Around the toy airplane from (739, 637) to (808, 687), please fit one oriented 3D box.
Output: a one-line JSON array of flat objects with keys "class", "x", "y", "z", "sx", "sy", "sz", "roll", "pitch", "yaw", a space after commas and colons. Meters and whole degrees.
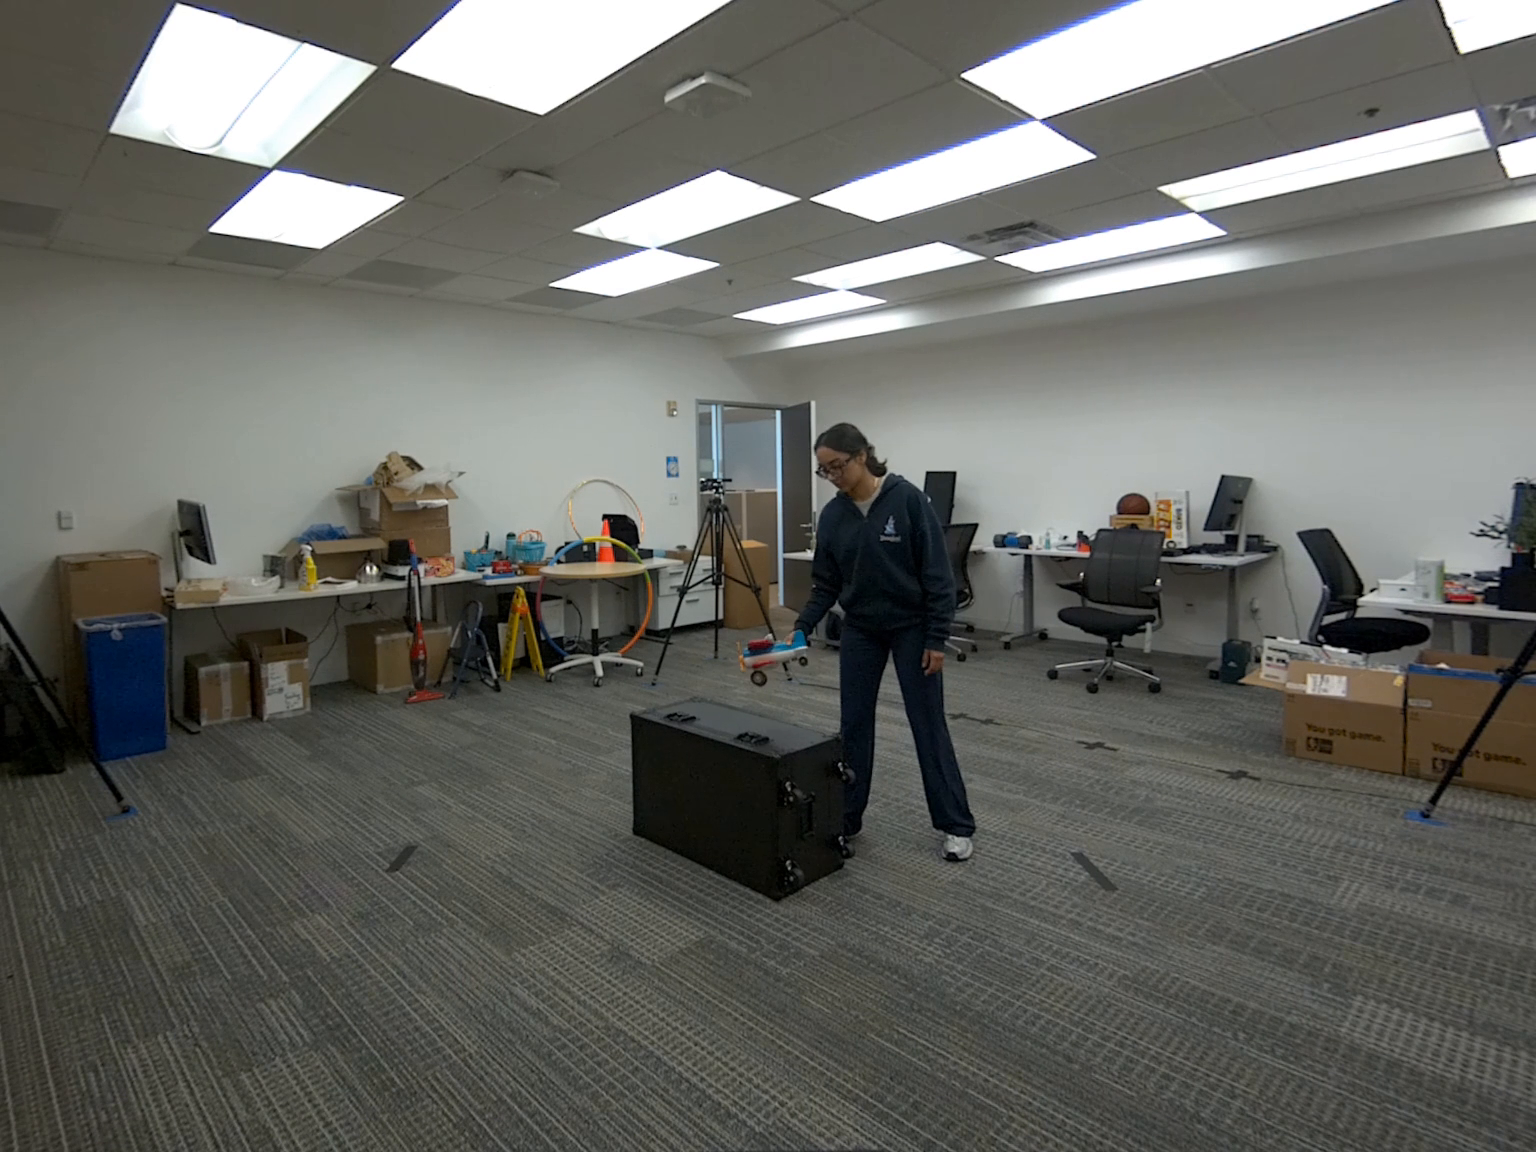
[{"class": "toy airplane", "x": 0.028, "y": 0.301, "z": 3.203, "sx": 0.255, "sy": 0.159, "sz": 0.251, "roll": -18, "pitch": -13, "yaw": -28}]
